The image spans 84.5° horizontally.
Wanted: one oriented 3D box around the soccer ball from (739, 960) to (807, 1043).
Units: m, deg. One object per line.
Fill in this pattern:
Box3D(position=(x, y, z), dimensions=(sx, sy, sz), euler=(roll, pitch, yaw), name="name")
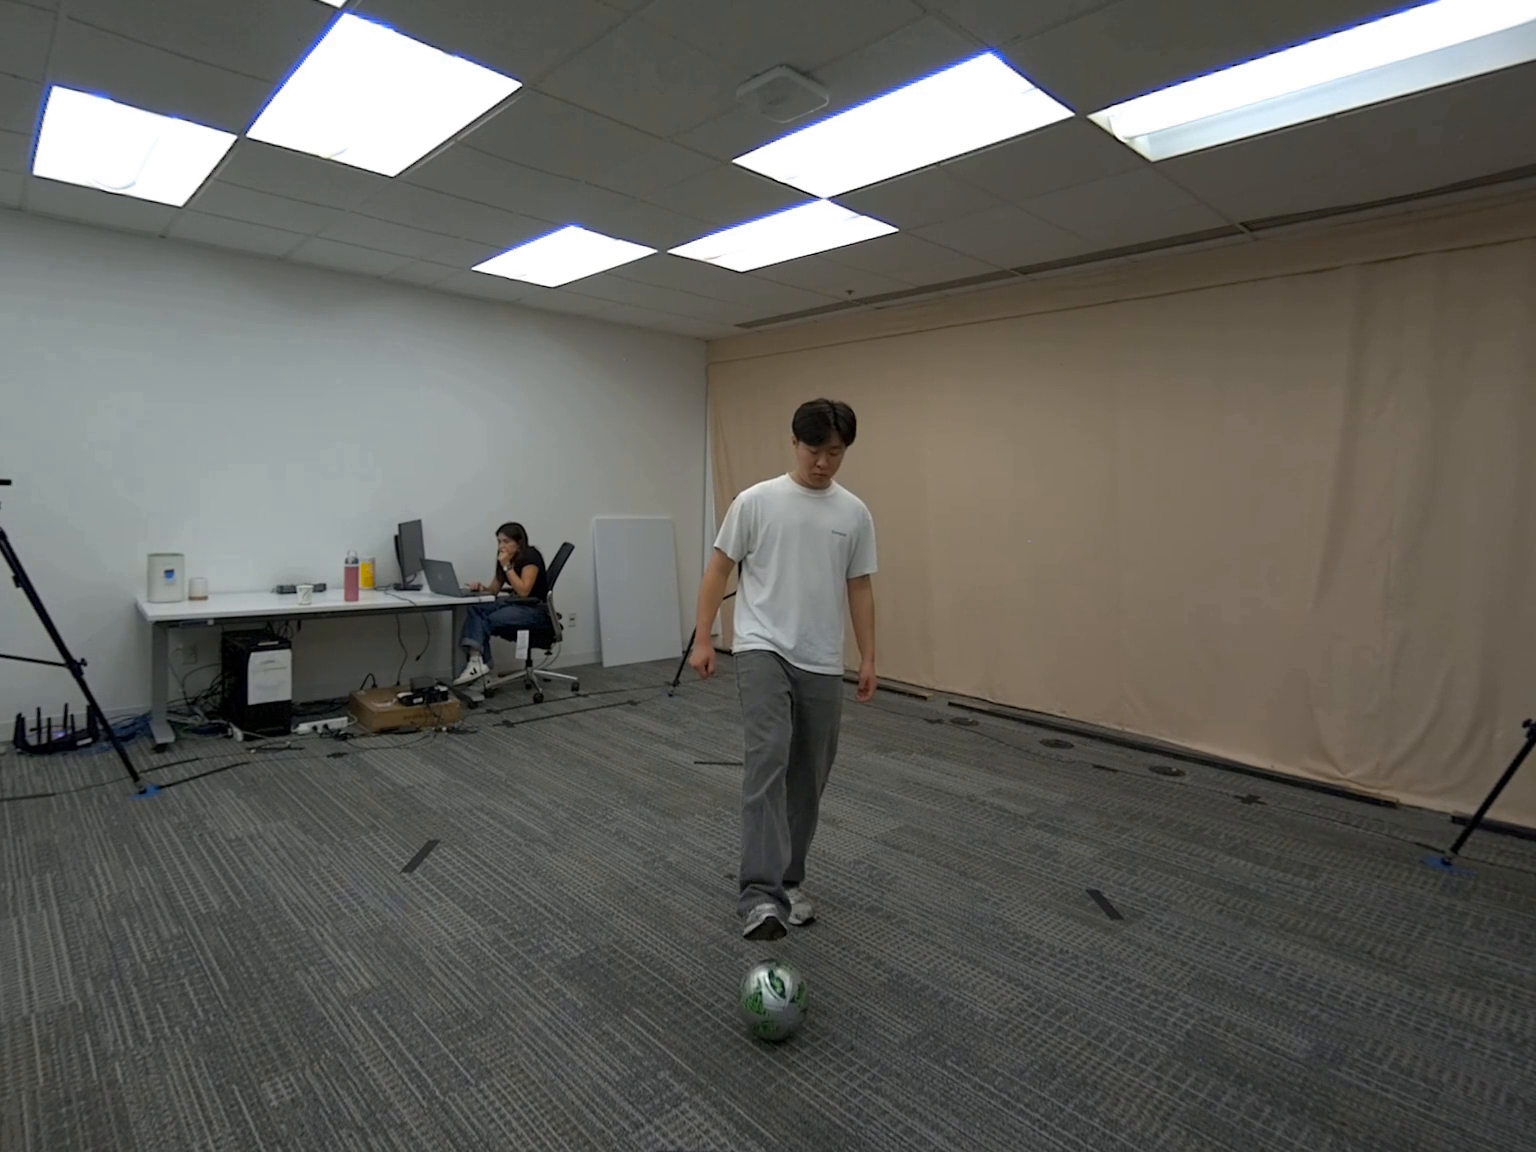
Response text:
Box3D(position=(0.003, 1.109, 2.183), dimensions=(0.187, 0.187, 0.188), euler=(1, 4, -1), name="soccer ball")
